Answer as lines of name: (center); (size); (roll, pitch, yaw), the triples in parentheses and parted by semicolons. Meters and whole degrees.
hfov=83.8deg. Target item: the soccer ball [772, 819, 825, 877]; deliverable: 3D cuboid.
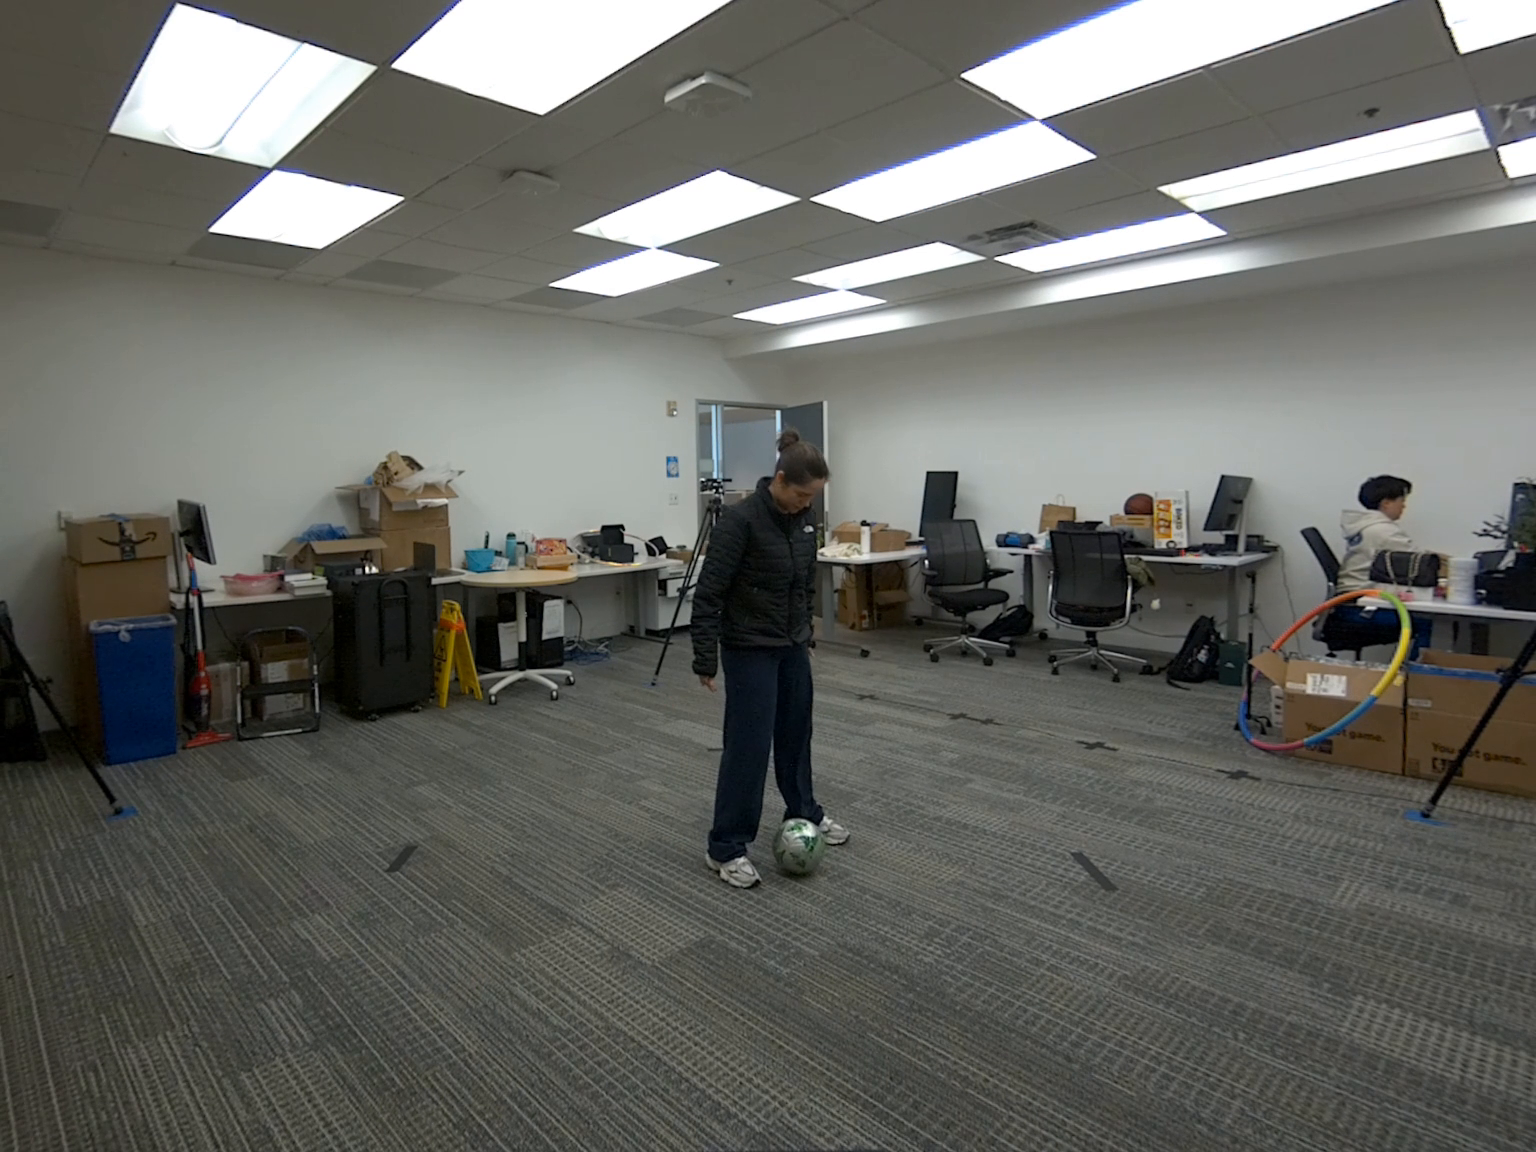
soccer ball: (0.104, 0.952, 3.020); (0.187, 0.187, 0.188); (-1, 5, -2)
